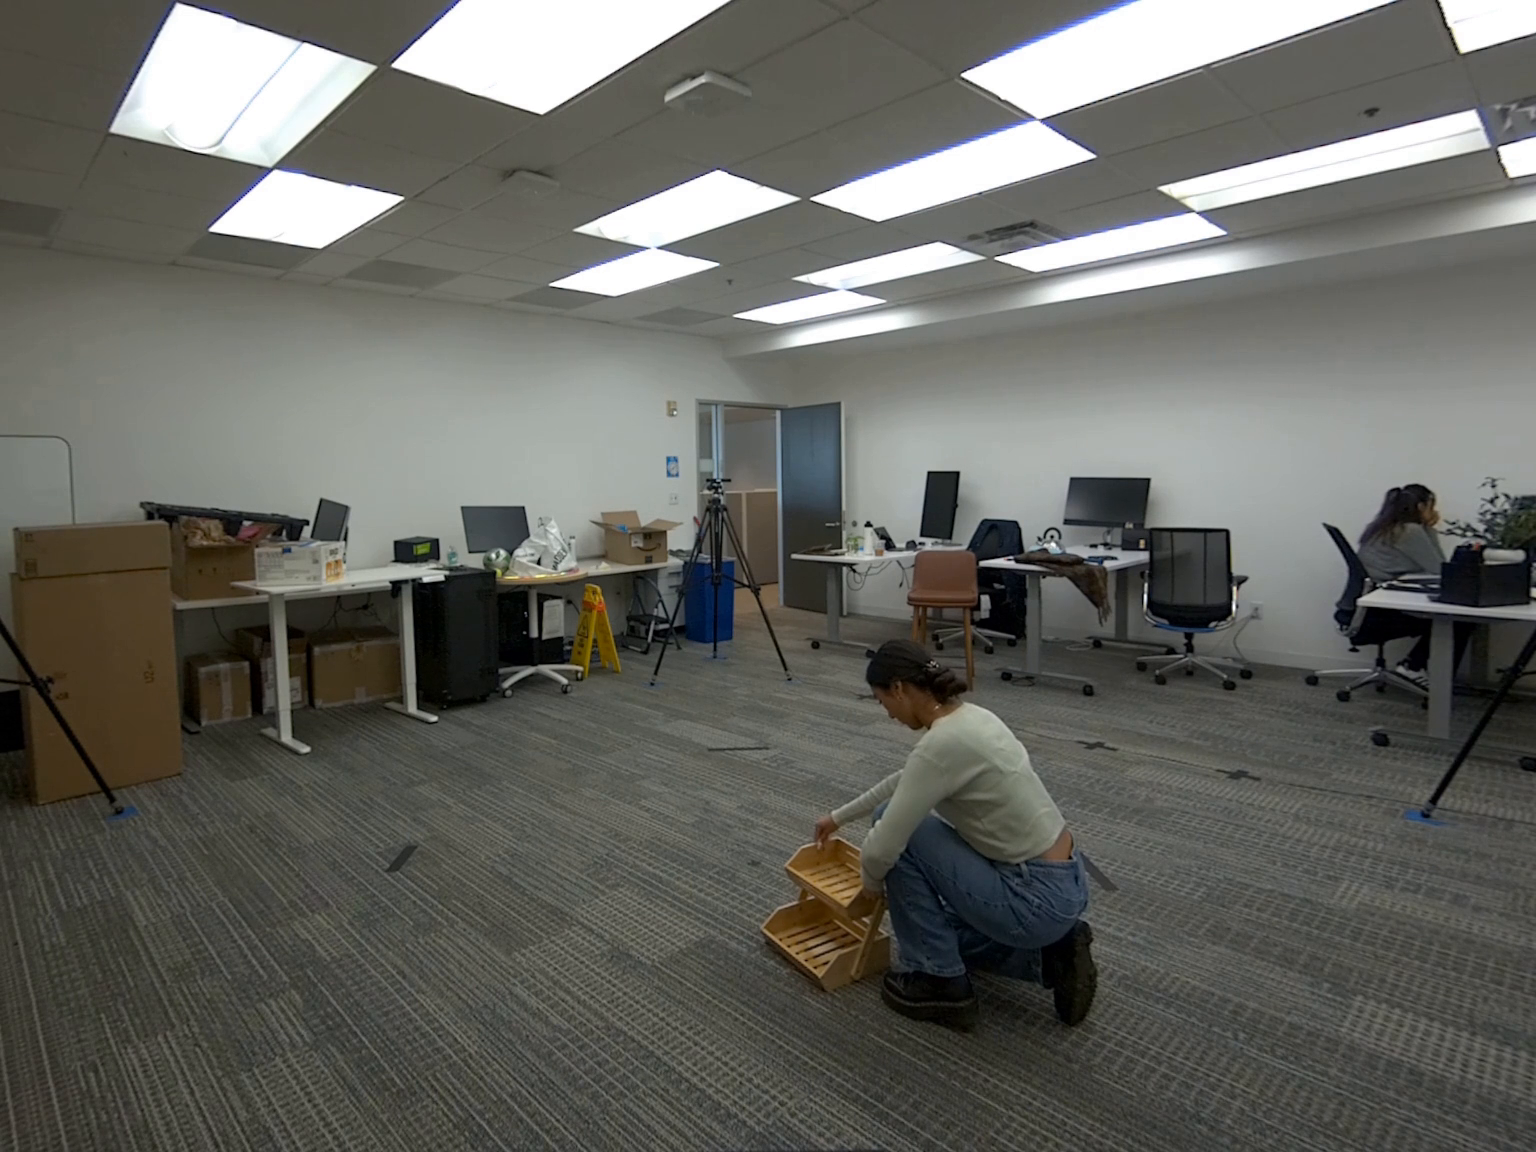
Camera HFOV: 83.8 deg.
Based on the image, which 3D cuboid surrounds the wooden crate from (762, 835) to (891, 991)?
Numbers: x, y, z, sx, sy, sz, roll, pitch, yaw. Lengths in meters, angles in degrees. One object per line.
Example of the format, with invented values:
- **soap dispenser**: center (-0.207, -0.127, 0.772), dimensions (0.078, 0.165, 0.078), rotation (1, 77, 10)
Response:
- **wooden crate**: center (0.184, 0.979, 2.505), dimensions (0.295, 0.272, 0.334), rotation (-4, 6, -32)
